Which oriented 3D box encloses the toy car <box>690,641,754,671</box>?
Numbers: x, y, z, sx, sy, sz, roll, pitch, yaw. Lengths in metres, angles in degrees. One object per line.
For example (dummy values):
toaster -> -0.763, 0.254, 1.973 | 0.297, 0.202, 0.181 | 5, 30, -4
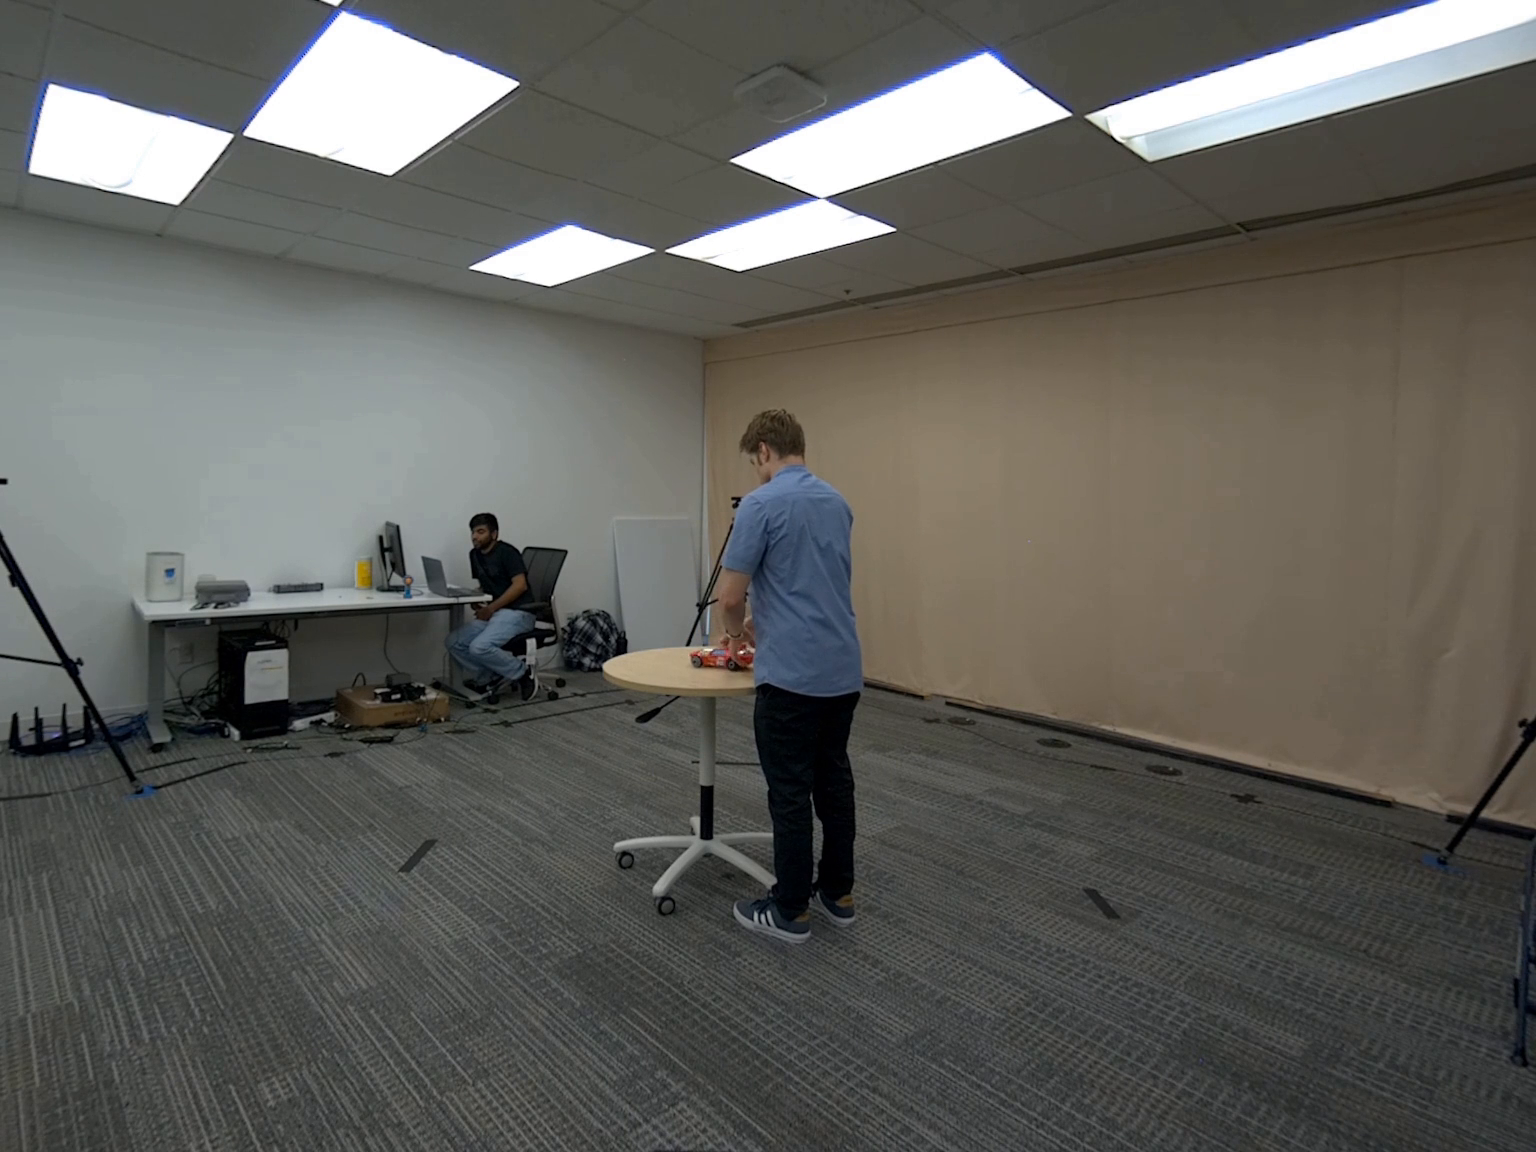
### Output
toy car -> -0.159, 0.298, 3.025 | 0.258, 0.083, 0.128 | -8, 1, 24
